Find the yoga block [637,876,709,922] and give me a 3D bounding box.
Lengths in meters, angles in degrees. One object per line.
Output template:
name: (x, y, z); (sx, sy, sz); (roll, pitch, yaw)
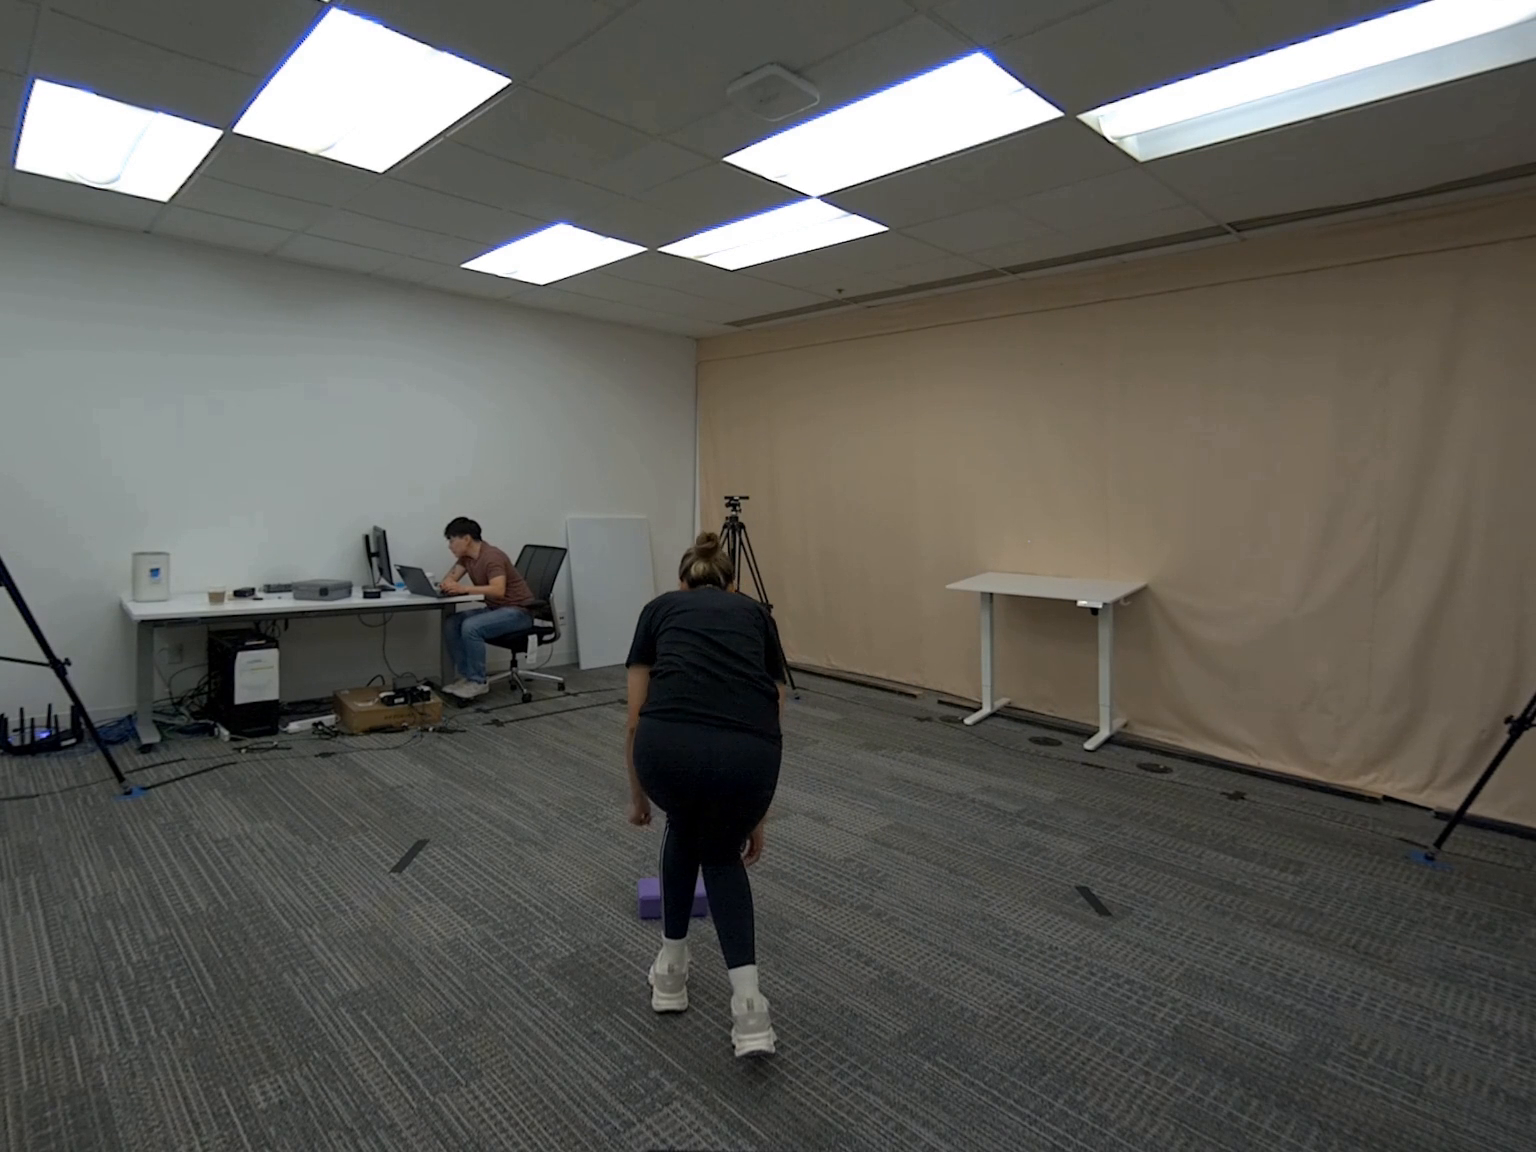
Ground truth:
yoga block: (-0.326, 1.085, 2.840); (0.228, 0.076, 0.150); (0, 5, -9)
